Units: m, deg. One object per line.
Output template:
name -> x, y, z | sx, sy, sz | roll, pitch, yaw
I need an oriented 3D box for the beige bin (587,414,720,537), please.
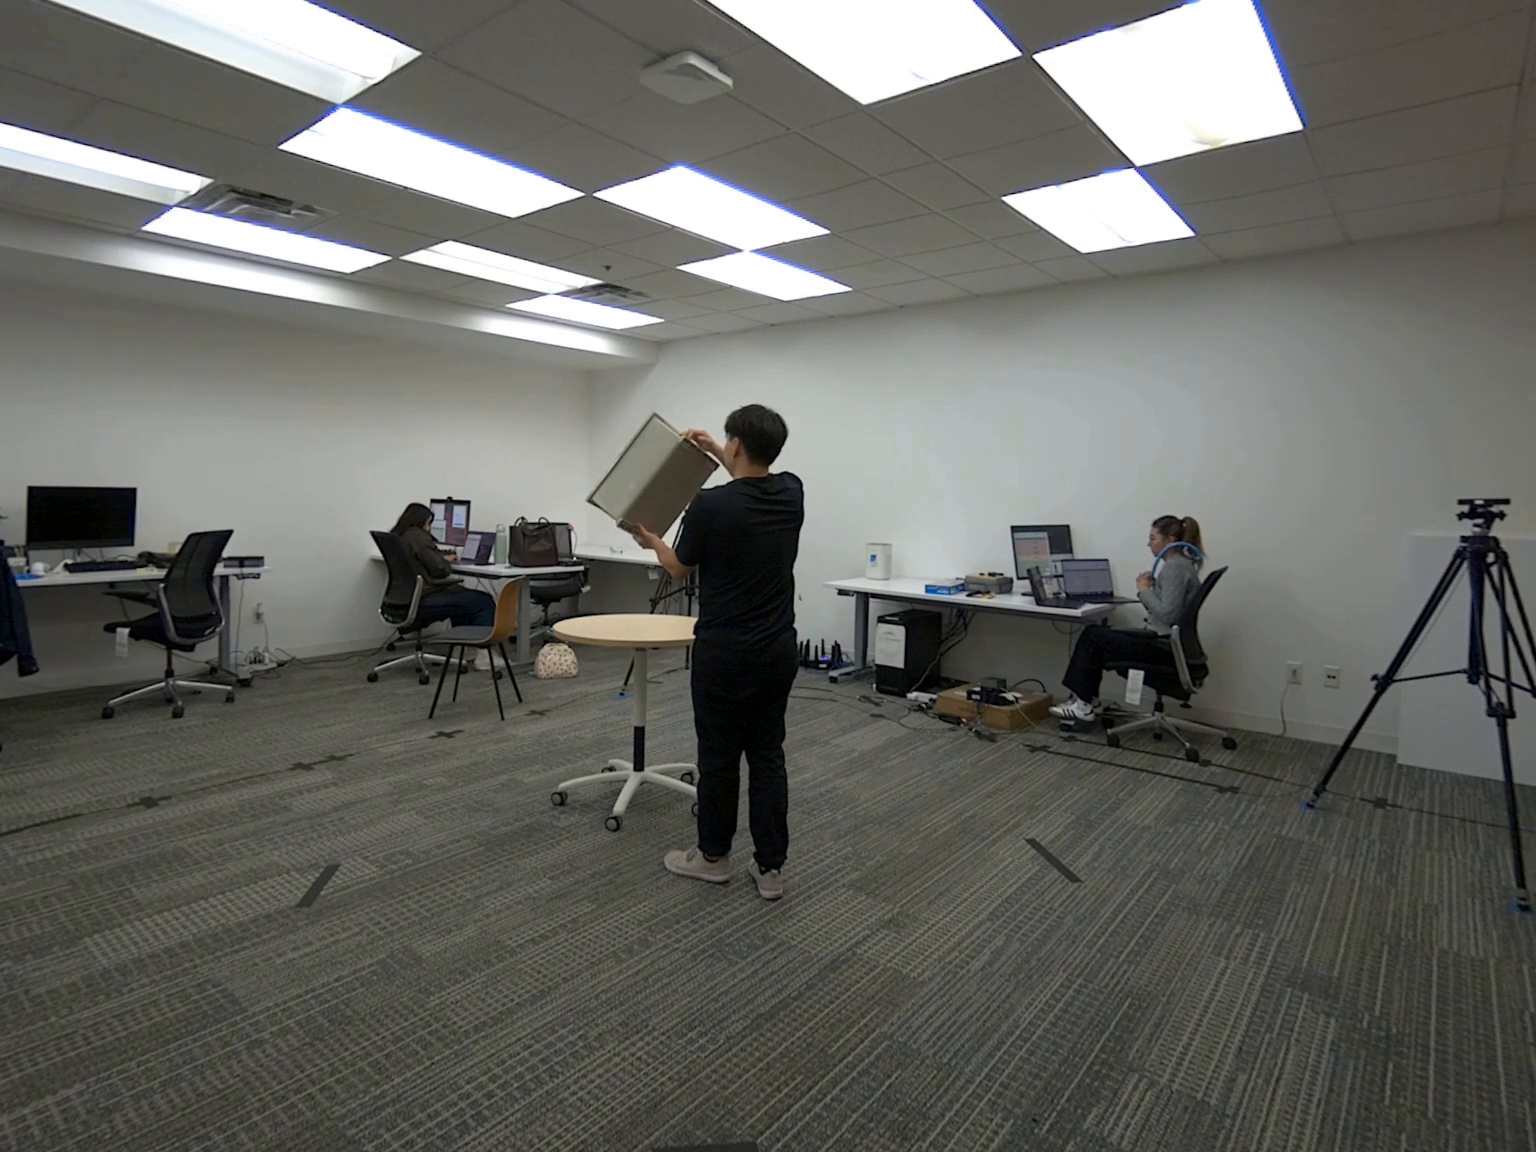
beige bin -> -0.434, -0.357, 3.277 | 0.196, 0.422, 0.364 | 40, 3, 26
